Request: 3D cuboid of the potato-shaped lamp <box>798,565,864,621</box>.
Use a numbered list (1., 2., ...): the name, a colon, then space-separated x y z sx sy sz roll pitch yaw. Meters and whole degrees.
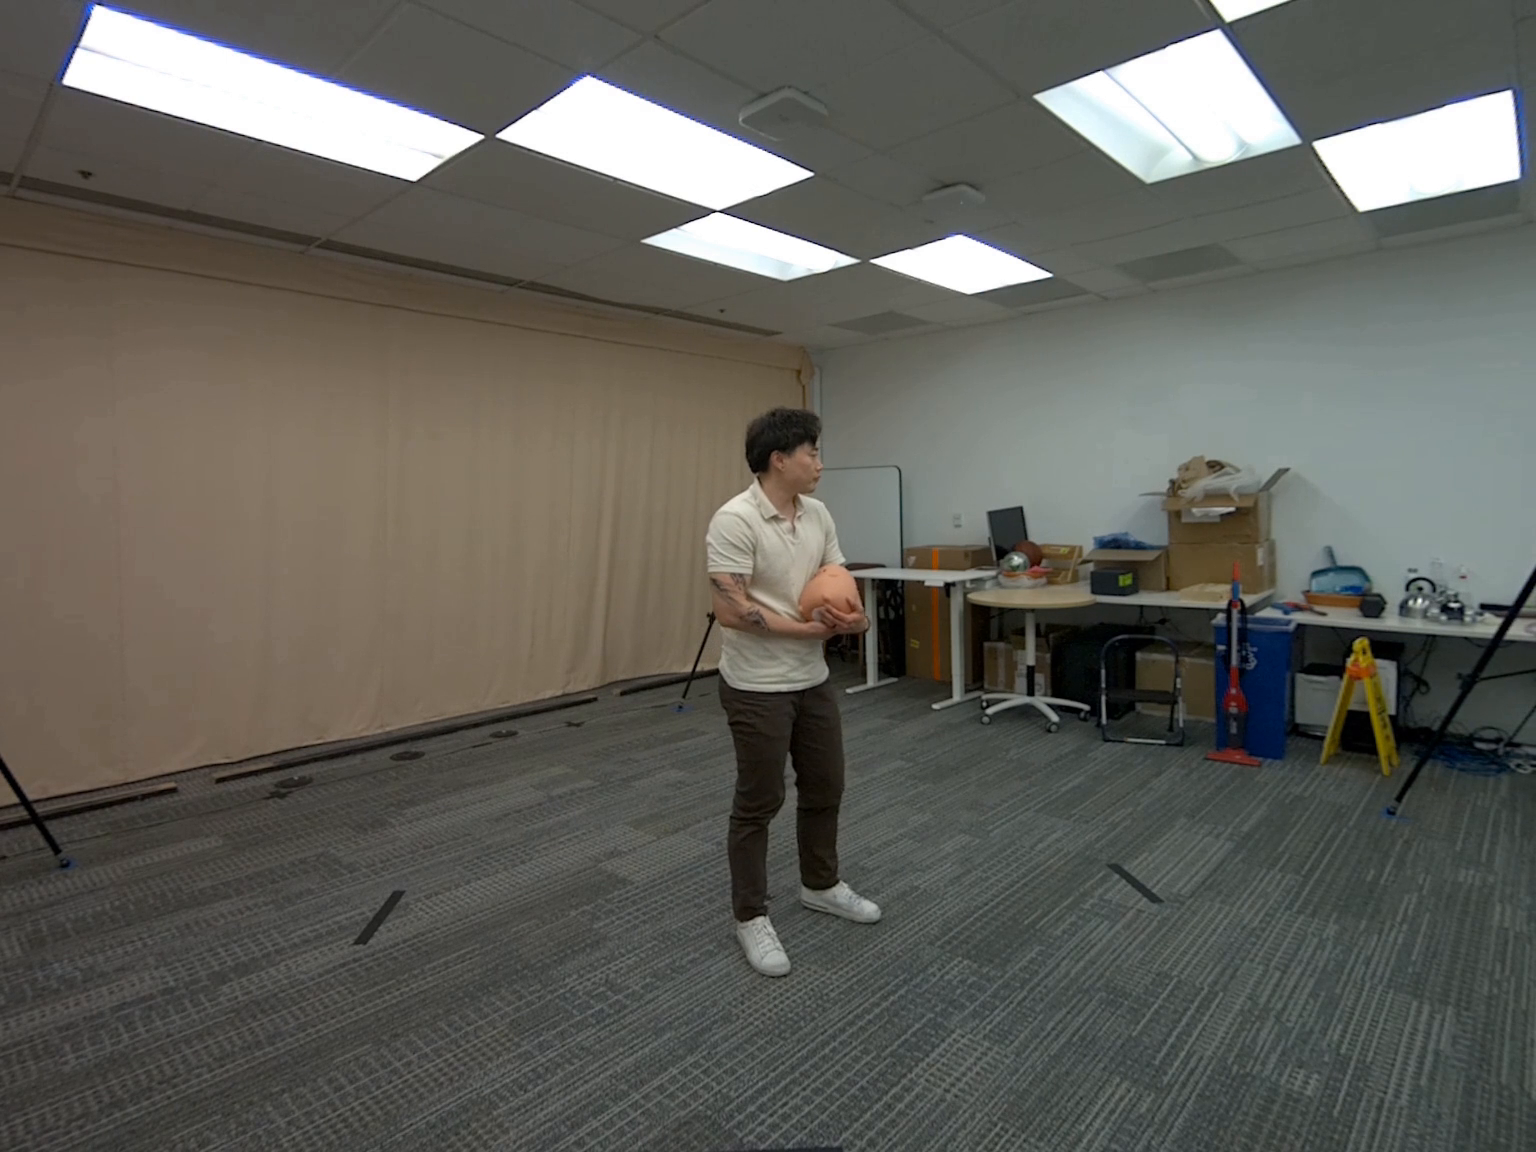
1. potato-shaped lamp: 0.187 0.053 2.556 0.166 0.202 0.166 30 -53 -30
